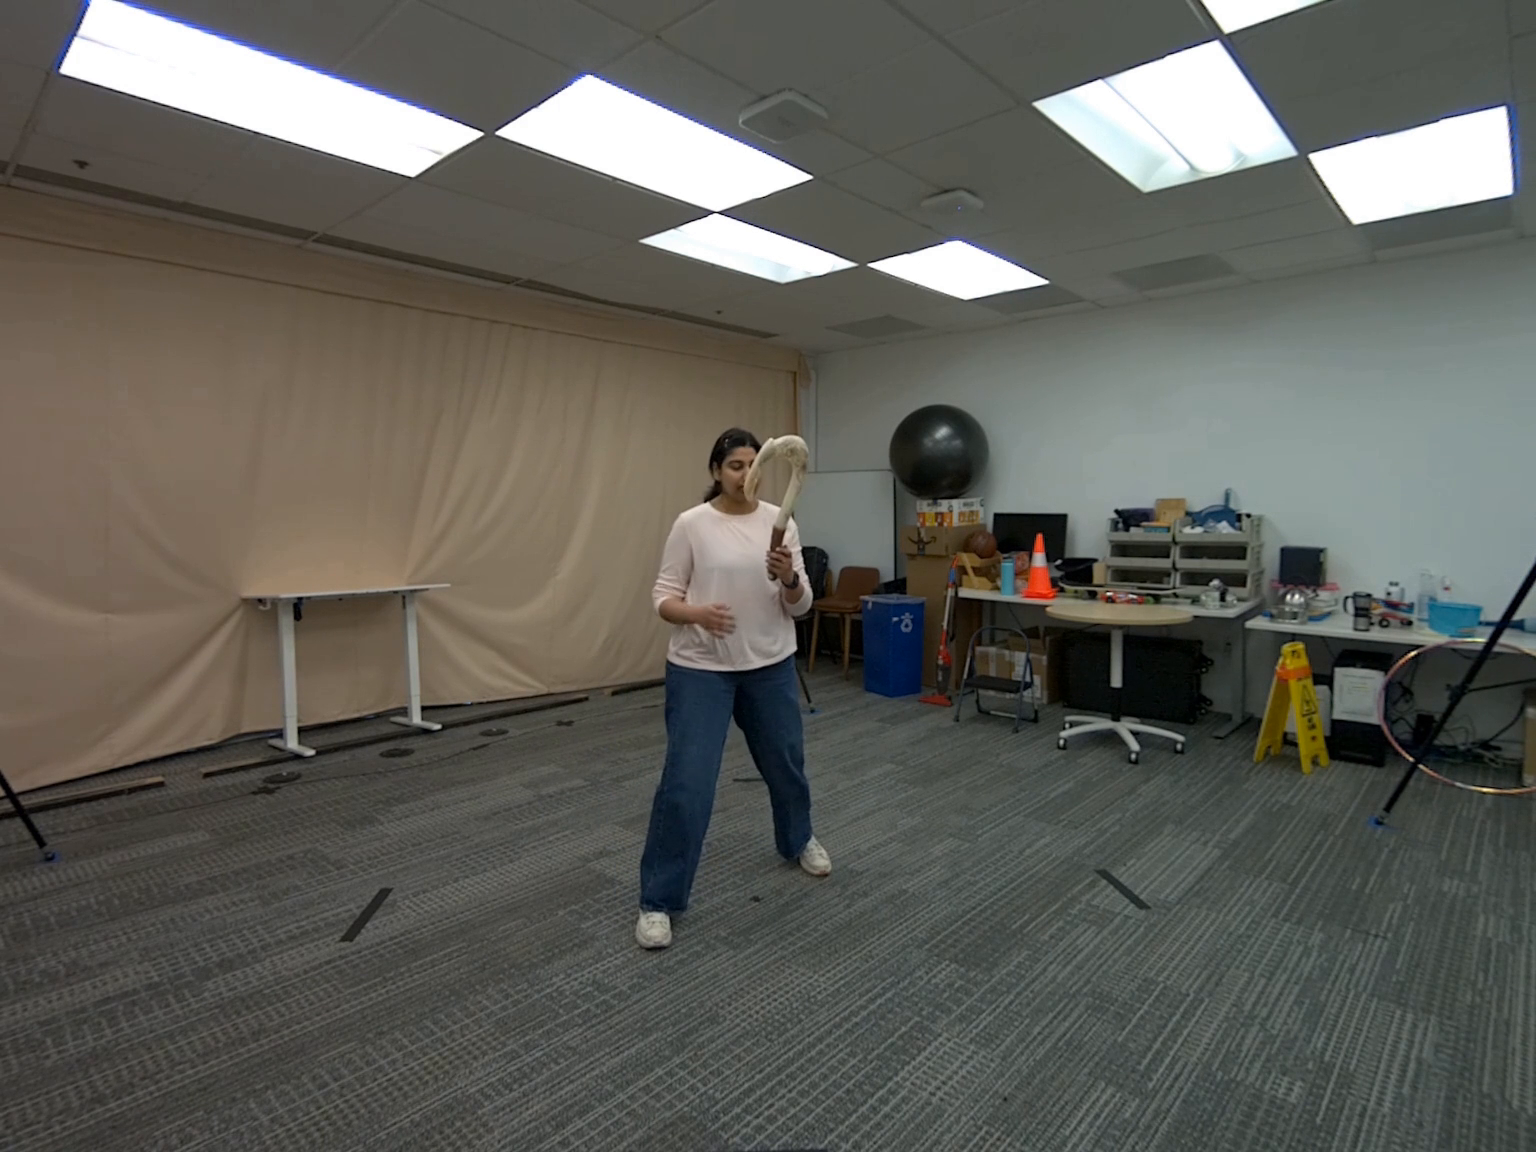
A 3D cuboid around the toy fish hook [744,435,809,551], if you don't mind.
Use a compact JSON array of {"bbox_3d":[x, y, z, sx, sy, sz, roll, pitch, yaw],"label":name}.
[{"bbox_3d":[0.002,-0.194,2.564,0.219,0.500,0.050,-11,35,-29],"label":"toy fish hook"}]
